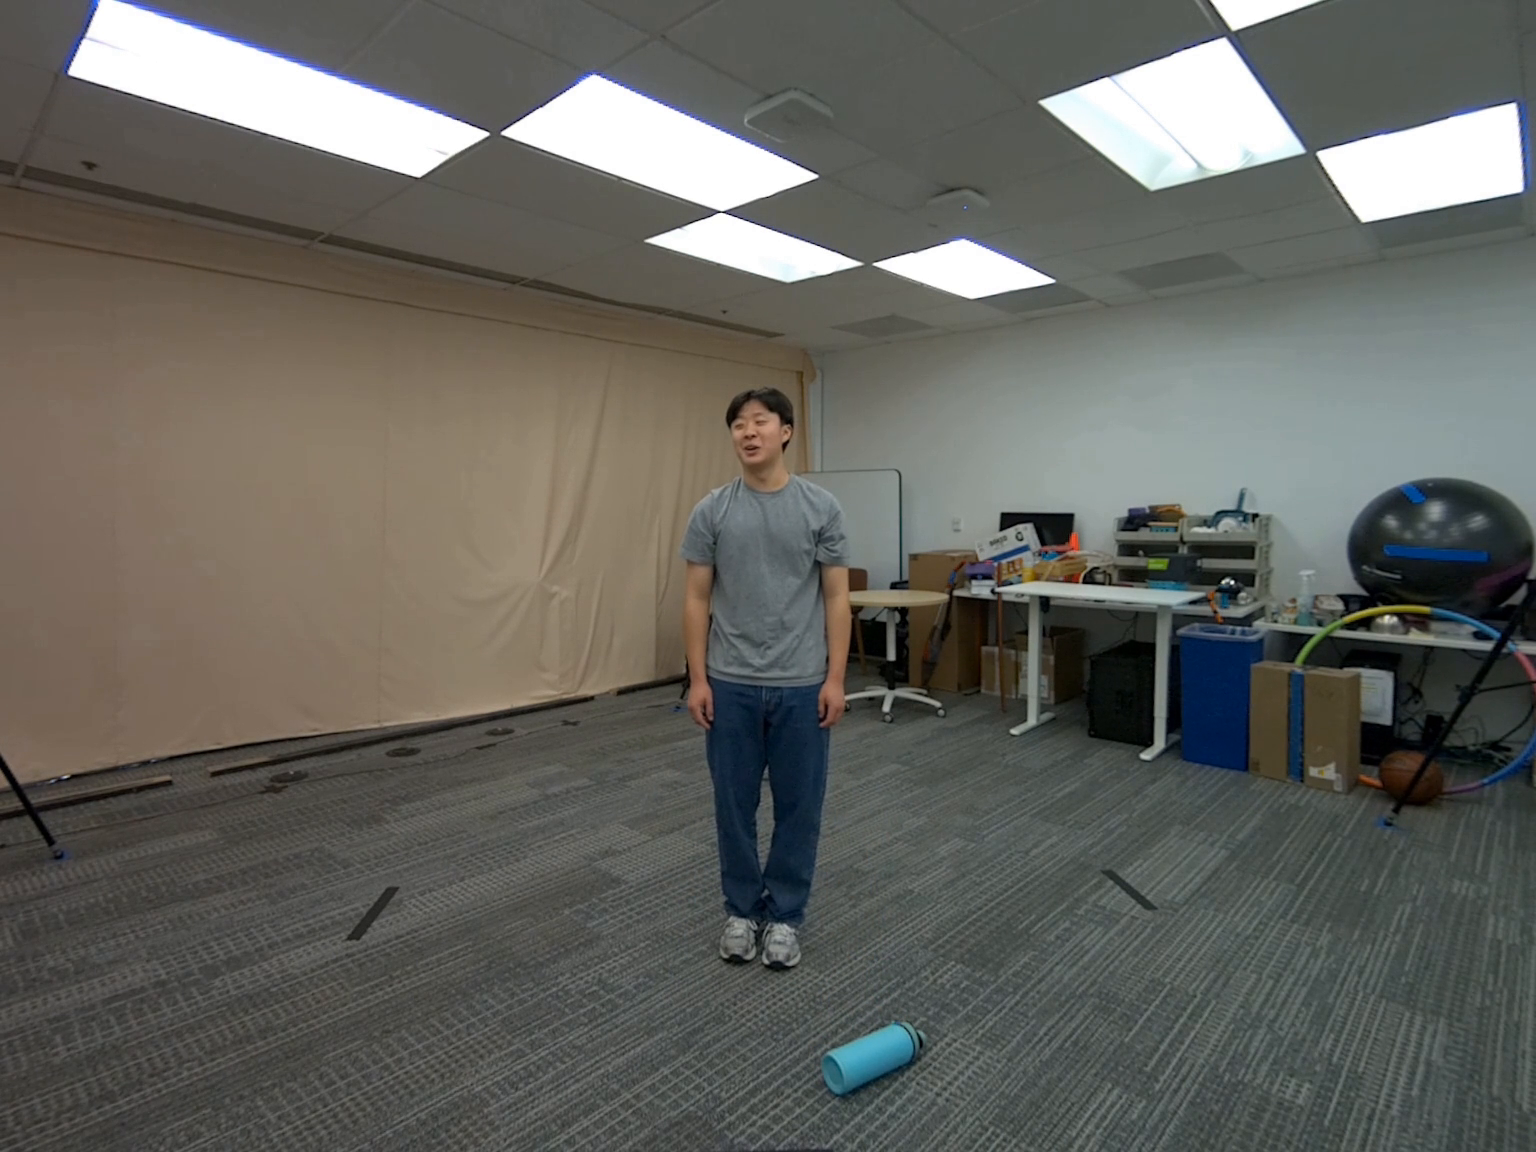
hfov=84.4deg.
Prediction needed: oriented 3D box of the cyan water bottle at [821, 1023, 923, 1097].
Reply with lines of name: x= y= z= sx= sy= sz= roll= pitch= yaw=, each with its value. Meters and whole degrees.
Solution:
cyan water bottle: x=0.276 y=1.174 z=2.064 sx=0.275 sy=0.092 sz=0.095 roll=-3 pitch=5 yaw=-35
